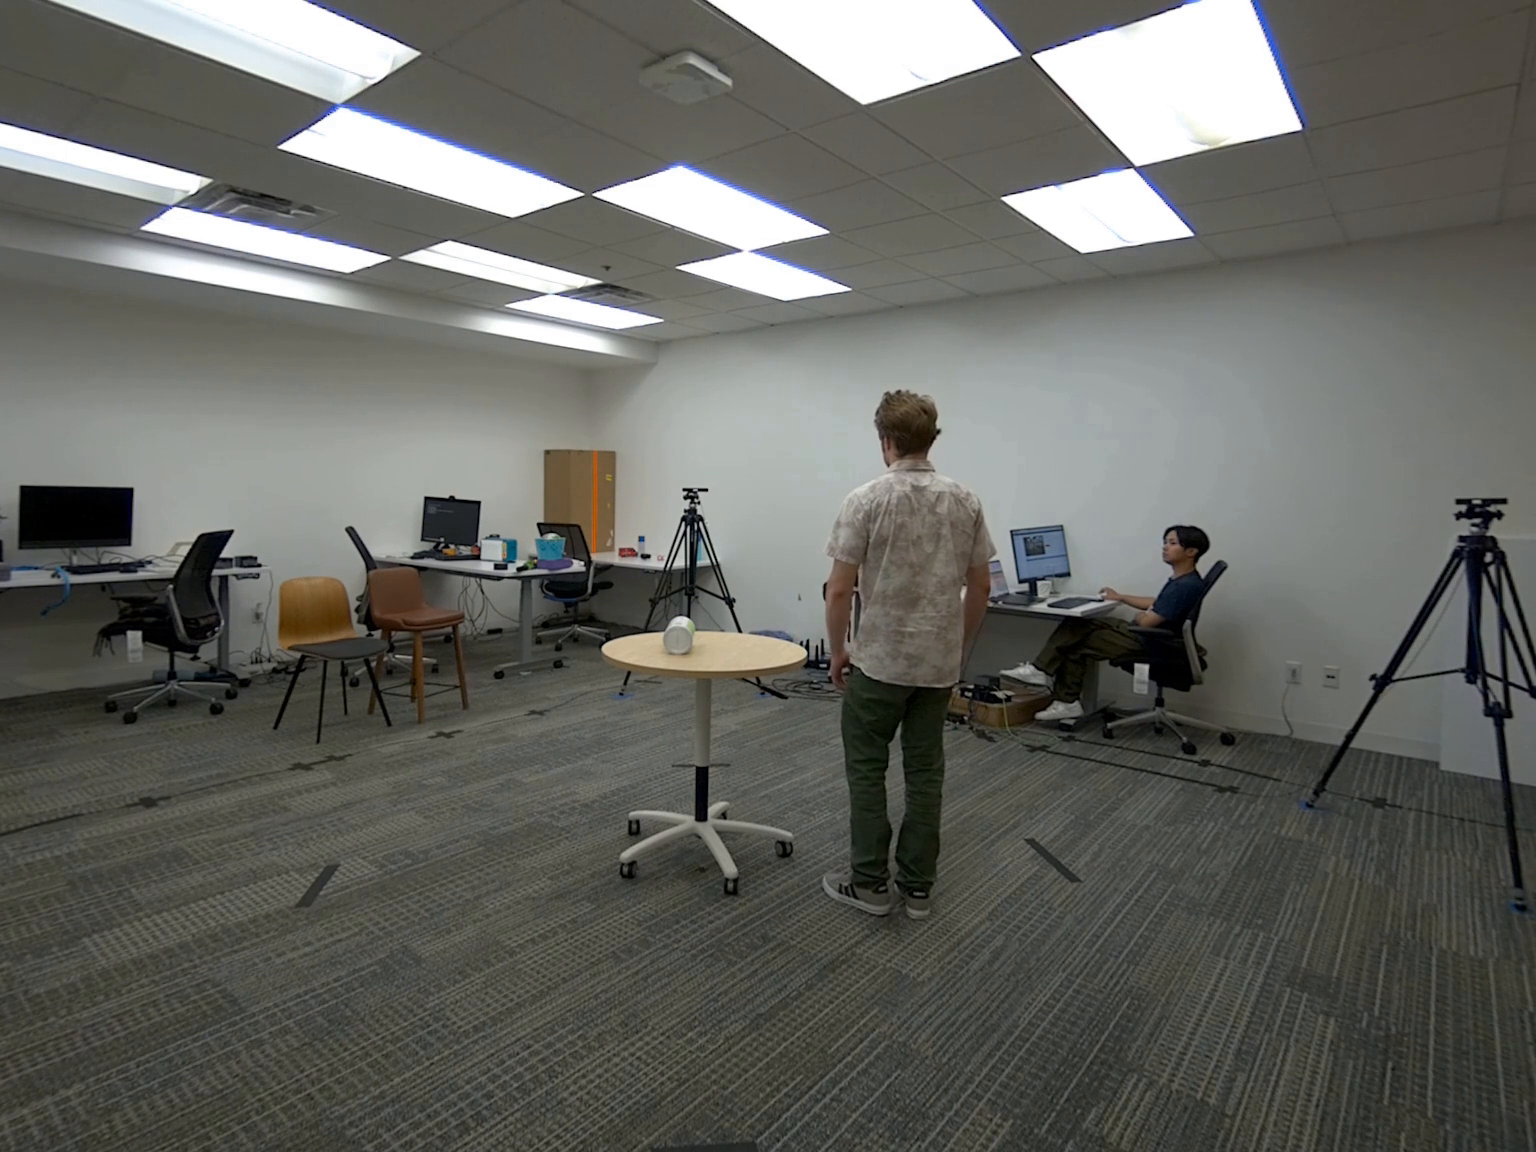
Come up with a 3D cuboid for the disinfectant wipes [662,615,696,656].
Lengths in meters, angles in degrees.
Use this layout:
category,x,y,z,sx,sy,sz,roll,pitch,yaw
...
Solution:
category,x,y,z,sx,sy,sz,roll,pitch,yaw
disinfectant wipes,-0.338,0.215,3.156,0.117,0.117,0.219,1,5,-3
